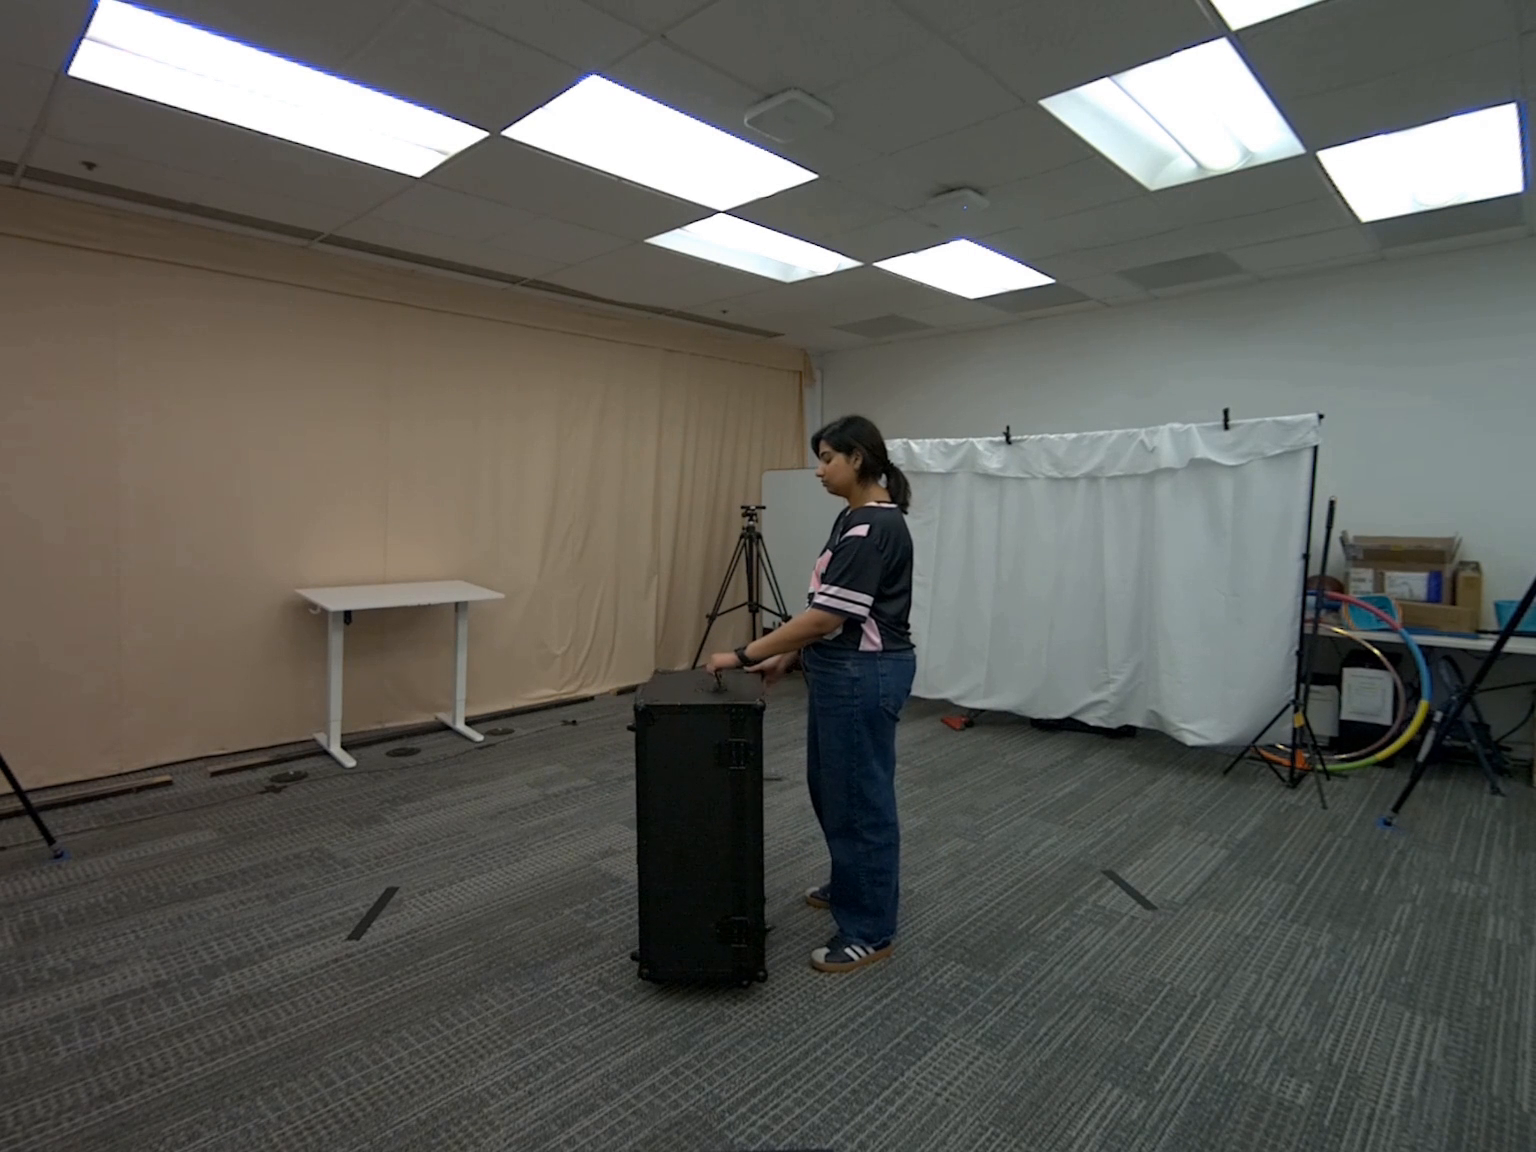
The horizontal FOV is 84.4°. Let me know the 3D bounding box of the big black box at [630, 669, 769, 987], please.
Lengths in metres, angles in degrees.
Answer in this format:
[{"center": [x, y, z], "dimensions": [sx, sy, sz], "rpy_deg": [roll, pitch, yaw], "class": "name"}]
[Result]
[{"center": [-0.195, 0.761, 2.557], "dimensions": [0.386, 0.867, 0.524], "rpy_deg": [-1, 3, 0], "class": "big black box"}]
